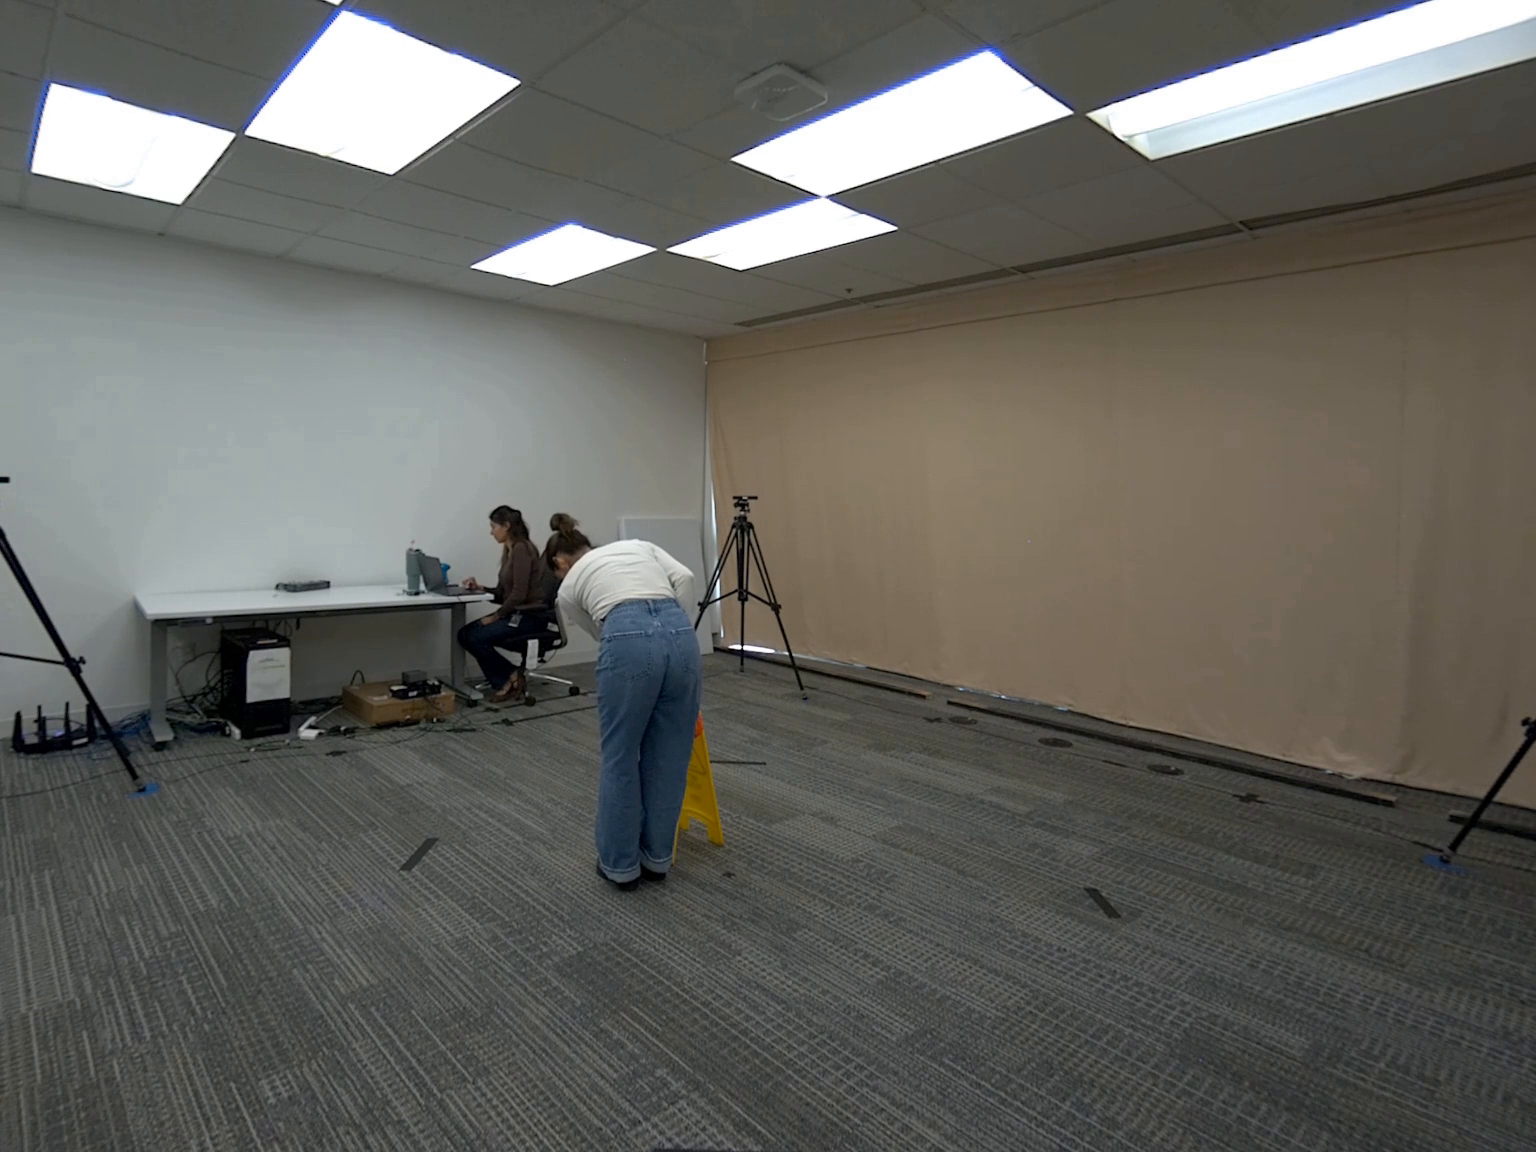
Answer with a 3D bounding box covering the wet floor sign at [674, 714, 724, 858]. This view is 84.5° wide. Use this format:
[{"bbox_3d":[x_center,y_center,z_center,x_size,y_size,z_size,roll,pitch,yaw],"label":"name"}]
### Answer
[{"bbox_3d":[-0.370,0.755,3.351,0.289,0.645,0.283,5,4,42],"label":"wet floor sign"}]
